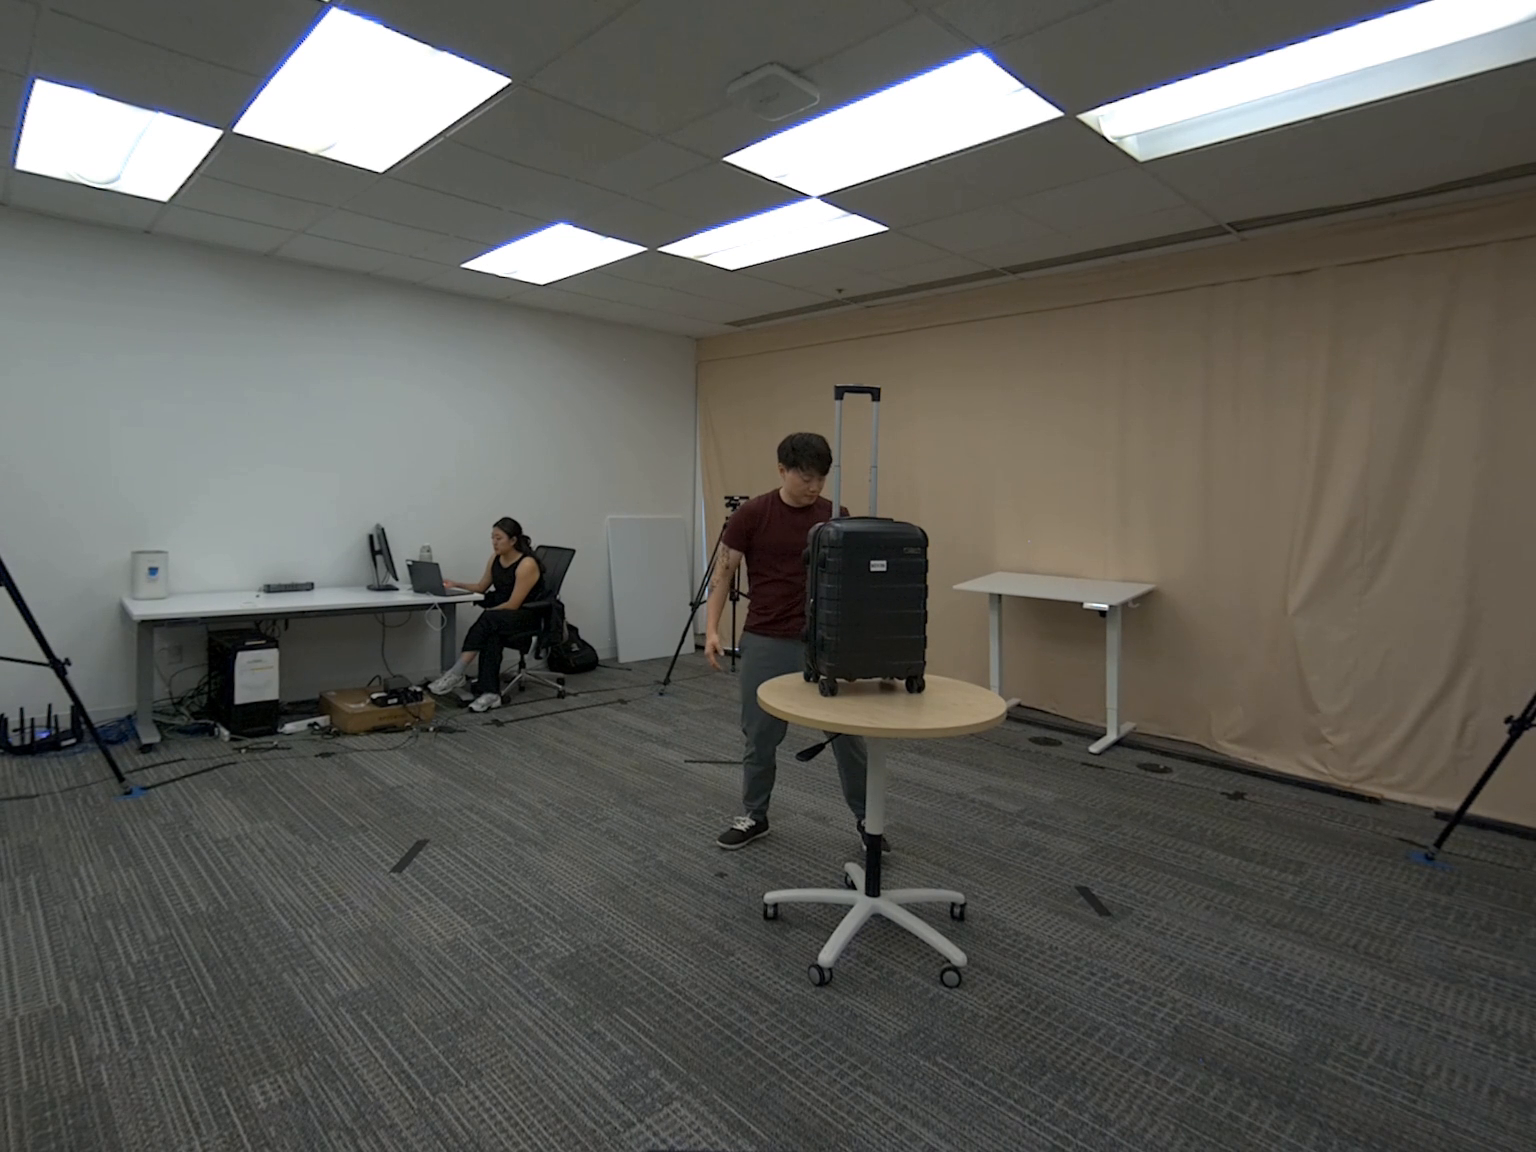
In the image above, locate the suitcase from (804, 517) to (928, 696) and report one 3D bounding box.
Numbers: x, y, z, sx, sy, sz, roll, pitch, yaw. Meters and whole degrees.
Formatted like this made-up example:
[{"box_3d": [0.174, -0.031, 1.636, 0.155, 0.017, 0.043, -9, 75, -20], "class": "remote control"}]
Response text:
[{"box_3d": [0.312, -0.115, 2.692, 0.381, 0.974, 0.260, 0, 6, -10], "class": "suitcase"}]
